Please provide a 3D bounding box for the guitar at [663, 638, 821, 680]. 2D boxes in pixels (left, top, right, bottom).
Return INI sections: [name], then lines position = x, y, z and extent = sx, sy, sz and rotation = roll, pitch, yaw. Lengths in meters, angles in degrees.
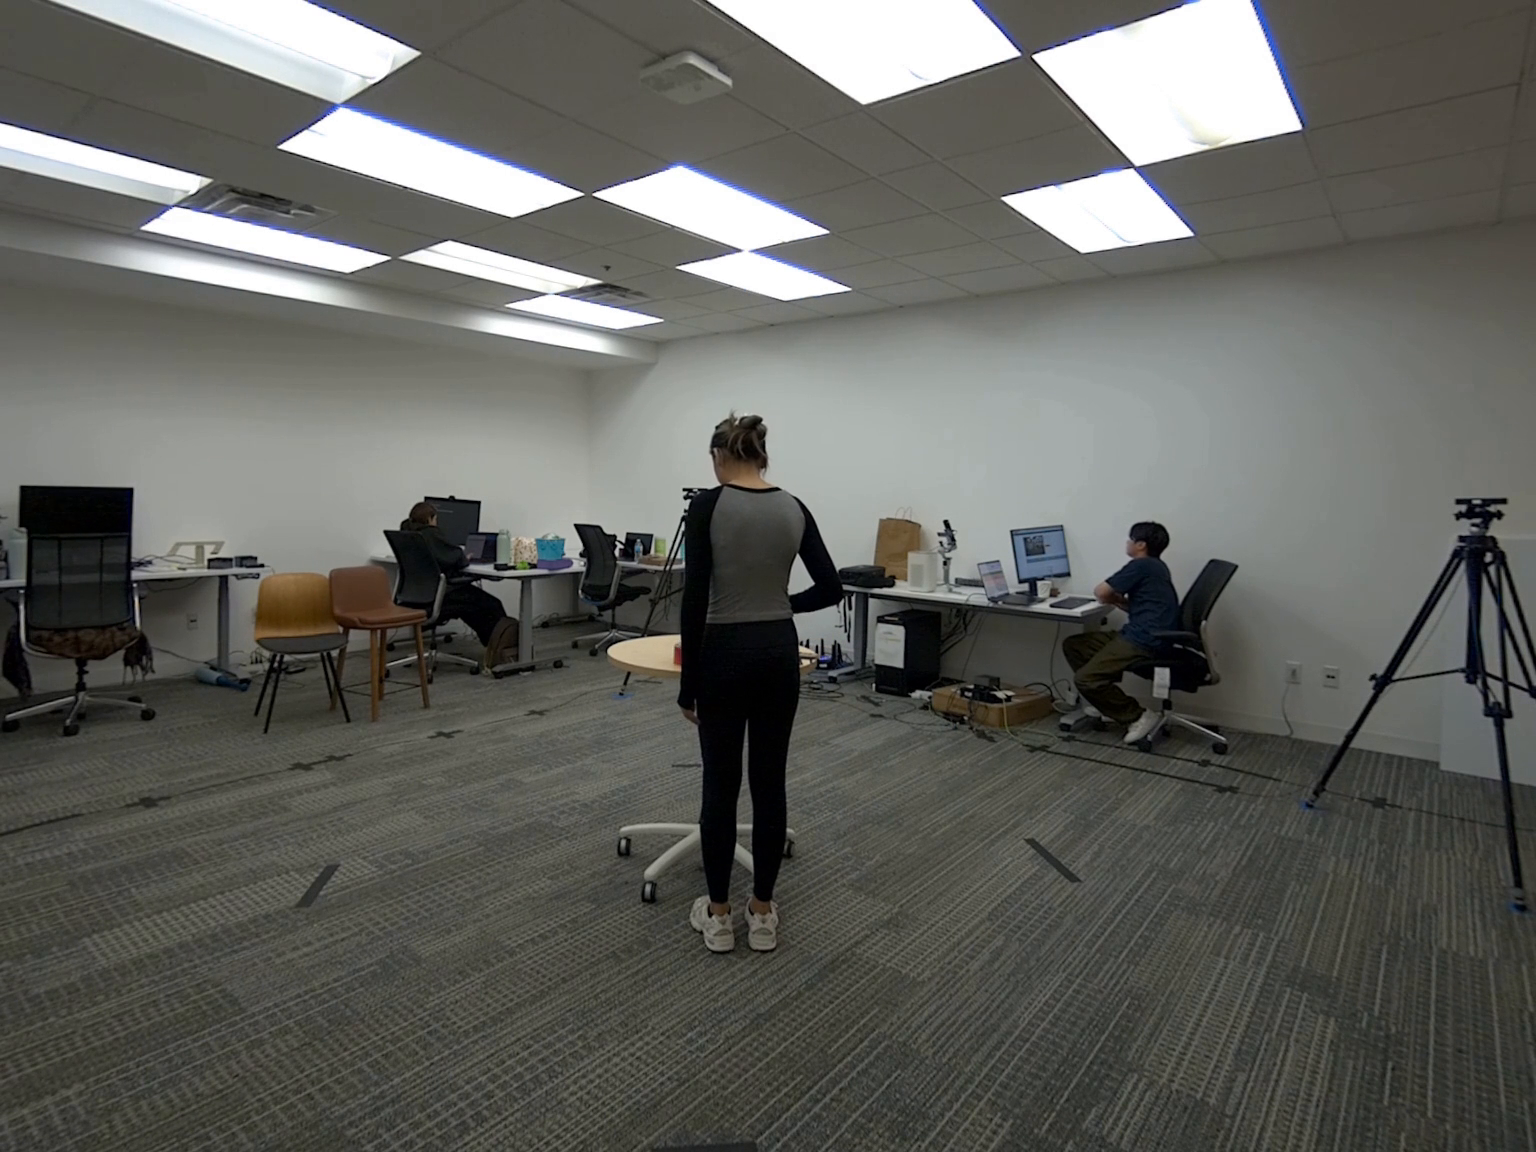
[guitar]
position = -0.093, 0.270, 2.827
extent = 0.513, 0.070, 0.188
rotation = 4, 4, 31
